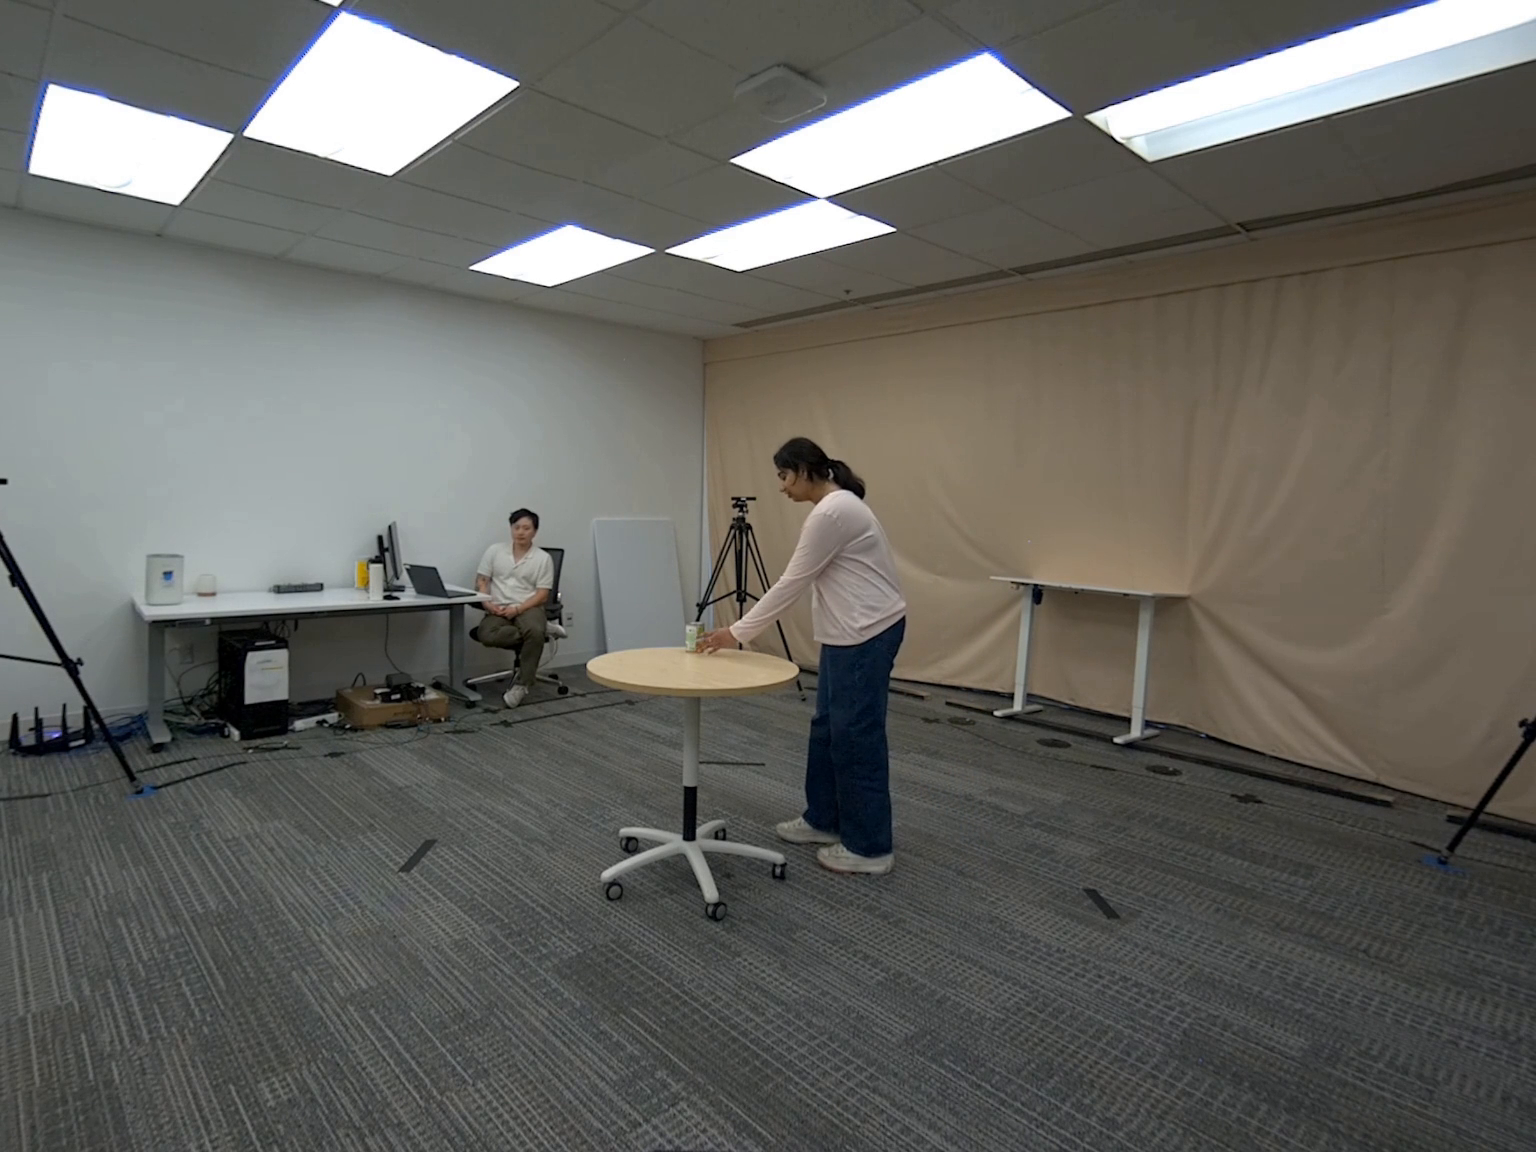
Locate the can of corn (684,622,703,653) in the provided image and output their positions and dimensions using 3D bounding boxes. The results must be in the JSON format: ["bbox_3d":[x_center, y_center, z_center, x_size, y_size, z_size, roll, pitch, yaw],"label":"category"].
[{"bbox_3d":[-0.291,0.242,3.324,0.074,0.111,0.074,2,4,-2],"label":"can of corn"}]
